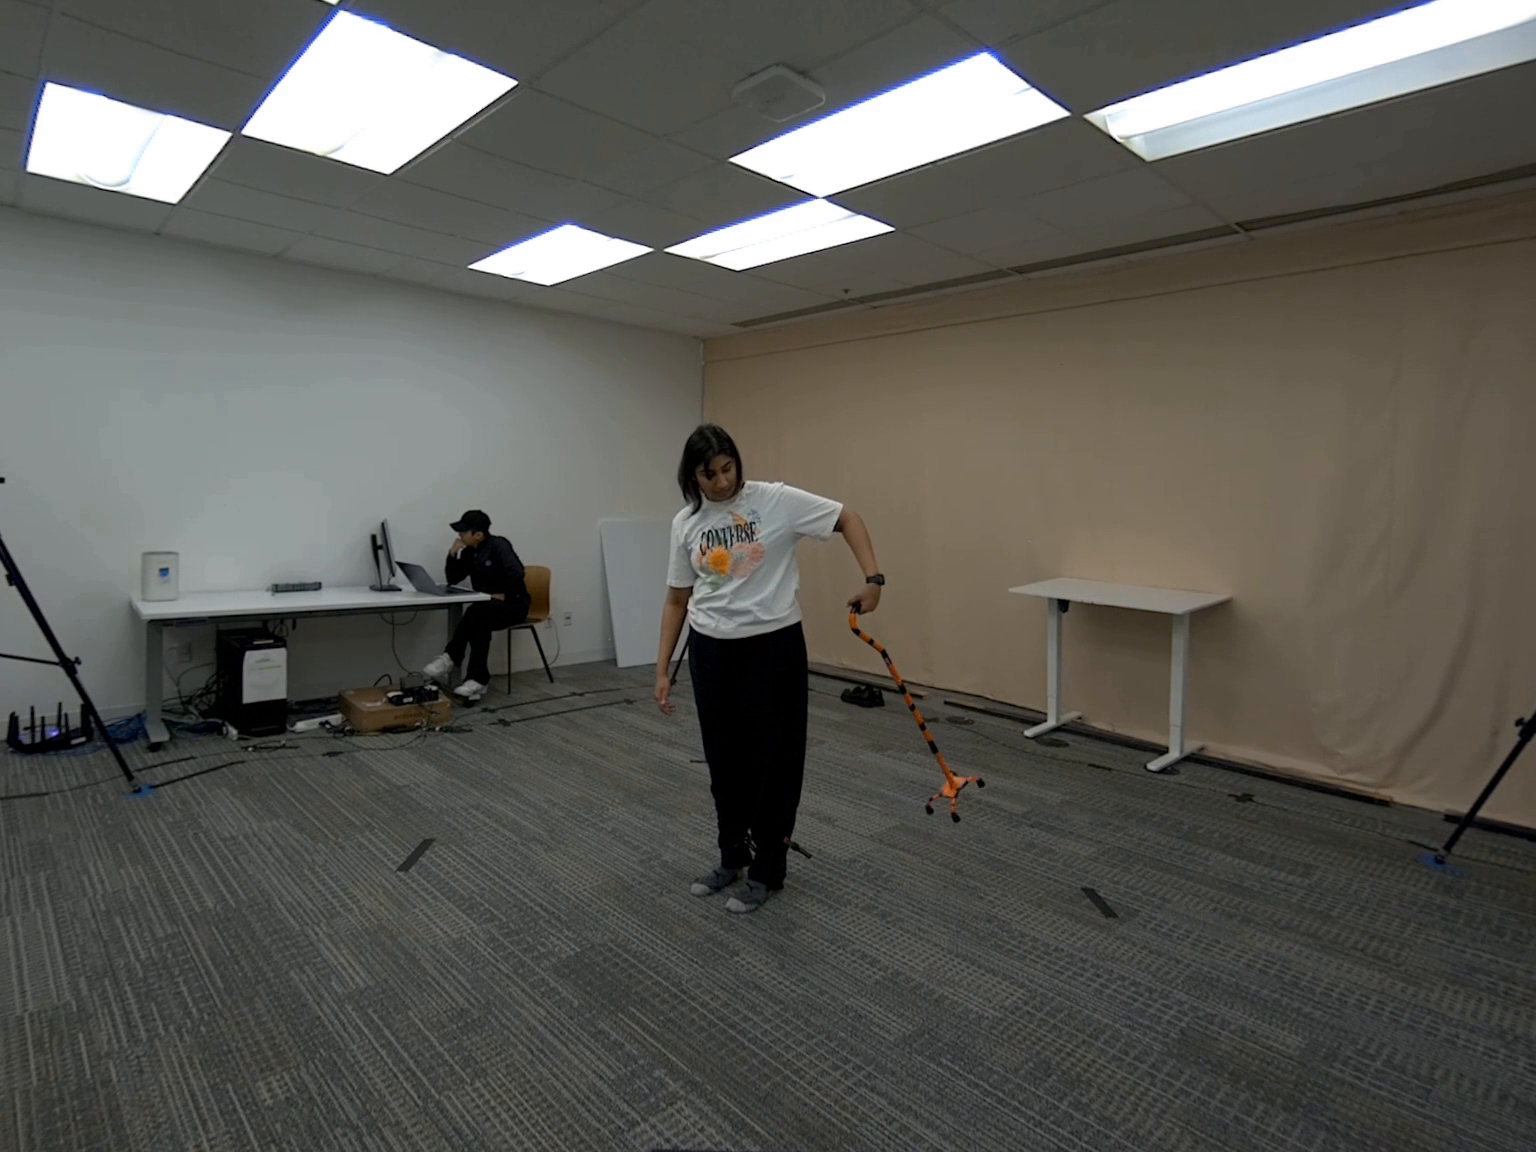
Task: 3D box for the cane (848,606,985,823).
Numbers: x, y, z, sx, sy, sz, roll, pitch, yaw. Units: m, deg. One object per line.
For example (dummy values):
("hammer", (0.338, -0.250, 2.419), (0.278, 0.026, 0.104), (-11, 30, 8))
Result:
("cane", (0.488, 0.461, 2.986), (0.205, 0.892, 0.155), (-38, 21, -31))
